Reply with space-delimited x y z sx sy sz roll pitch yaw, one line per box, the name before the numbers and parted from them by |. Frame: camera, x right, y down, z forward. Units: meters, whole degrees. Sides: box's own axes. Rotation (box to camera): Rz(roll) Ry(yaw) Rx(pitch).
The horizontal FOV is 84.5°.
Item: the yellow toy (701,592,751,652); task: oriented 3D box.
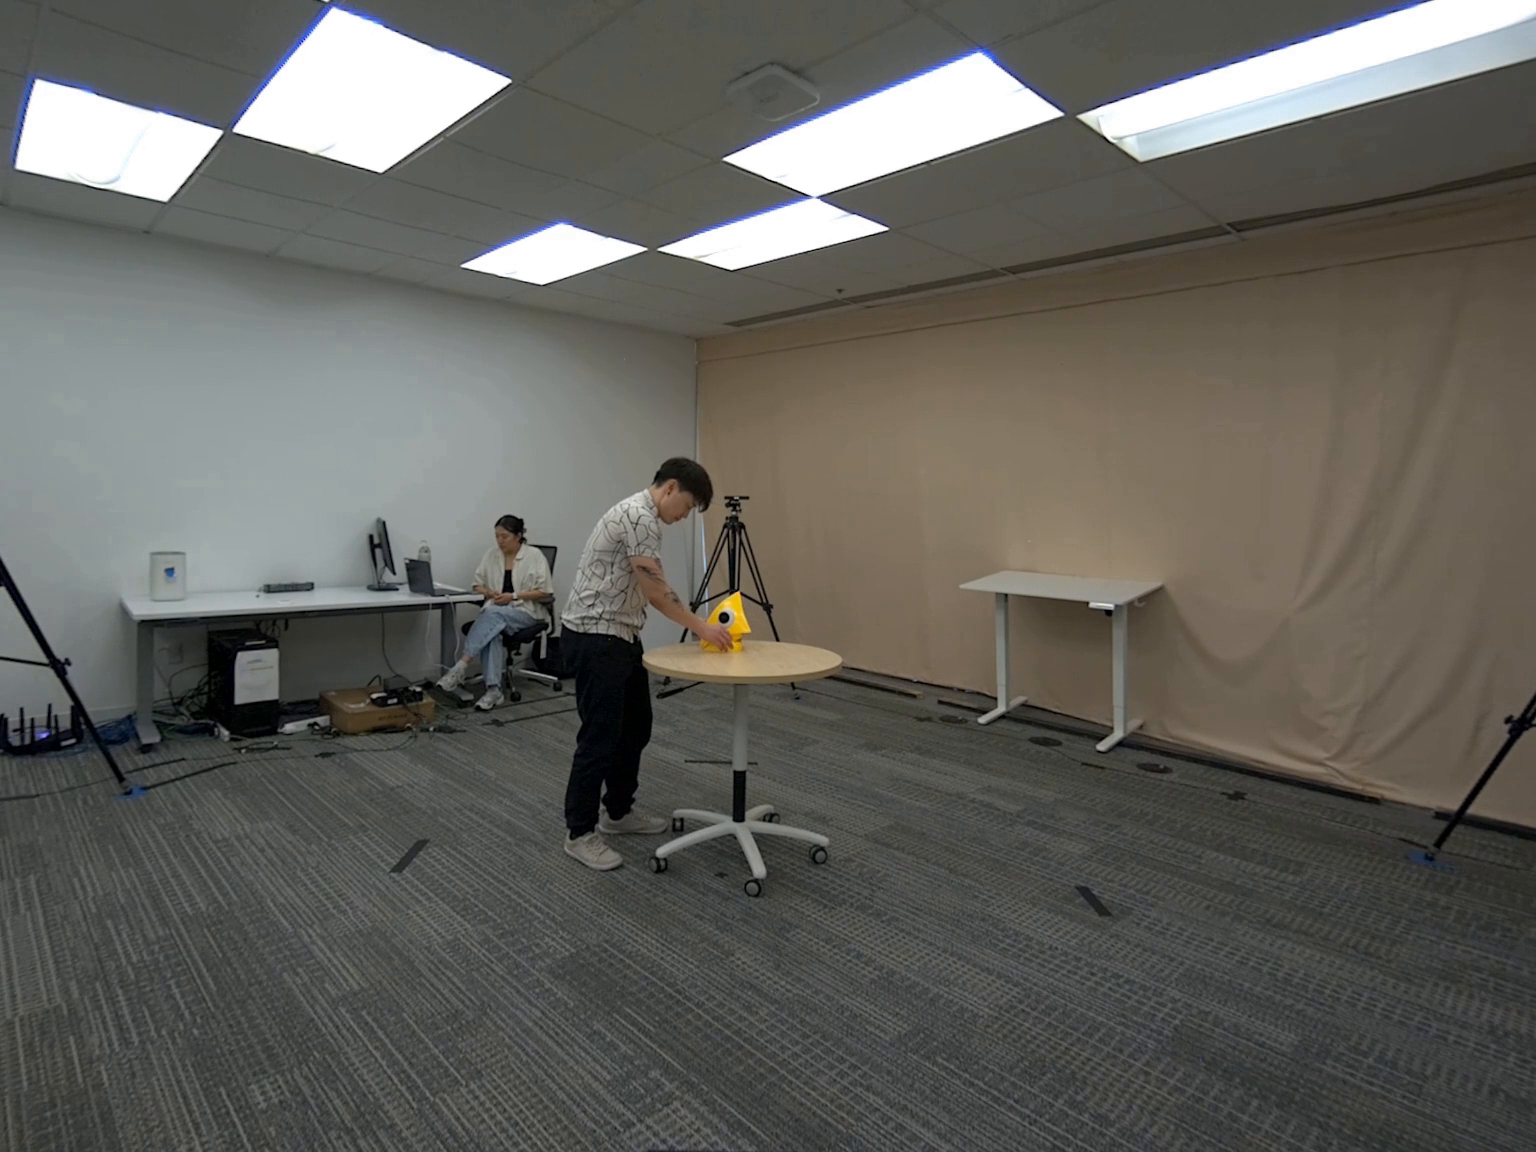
yellow toy | -0.191 0.179 3.422 0.191 0.230 0.207 -1 3 -12
